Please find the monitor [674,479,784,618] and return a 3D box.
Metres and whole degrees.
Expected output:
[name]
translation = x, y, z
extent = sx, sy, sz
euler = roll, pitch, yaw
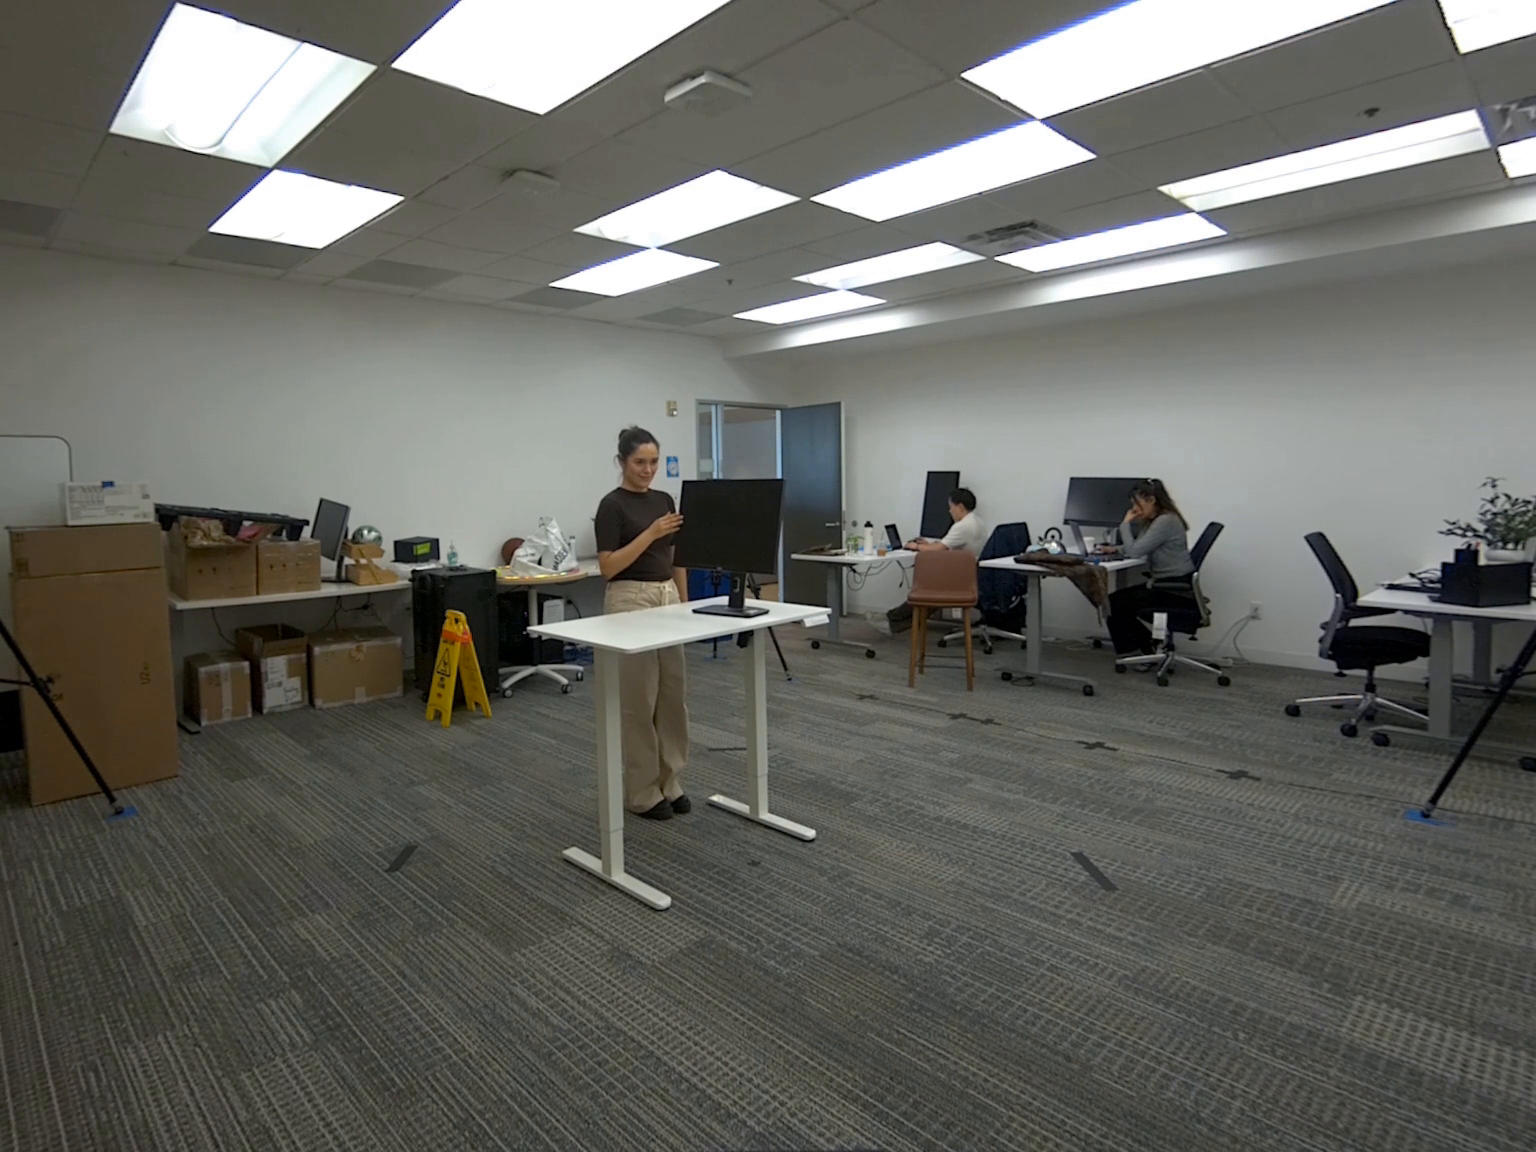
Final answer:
[monitor]
translation = -0.139, -0.110, 3.280
extent = 0.556, 0.520, 0.182
euler = 4, 8, 44
